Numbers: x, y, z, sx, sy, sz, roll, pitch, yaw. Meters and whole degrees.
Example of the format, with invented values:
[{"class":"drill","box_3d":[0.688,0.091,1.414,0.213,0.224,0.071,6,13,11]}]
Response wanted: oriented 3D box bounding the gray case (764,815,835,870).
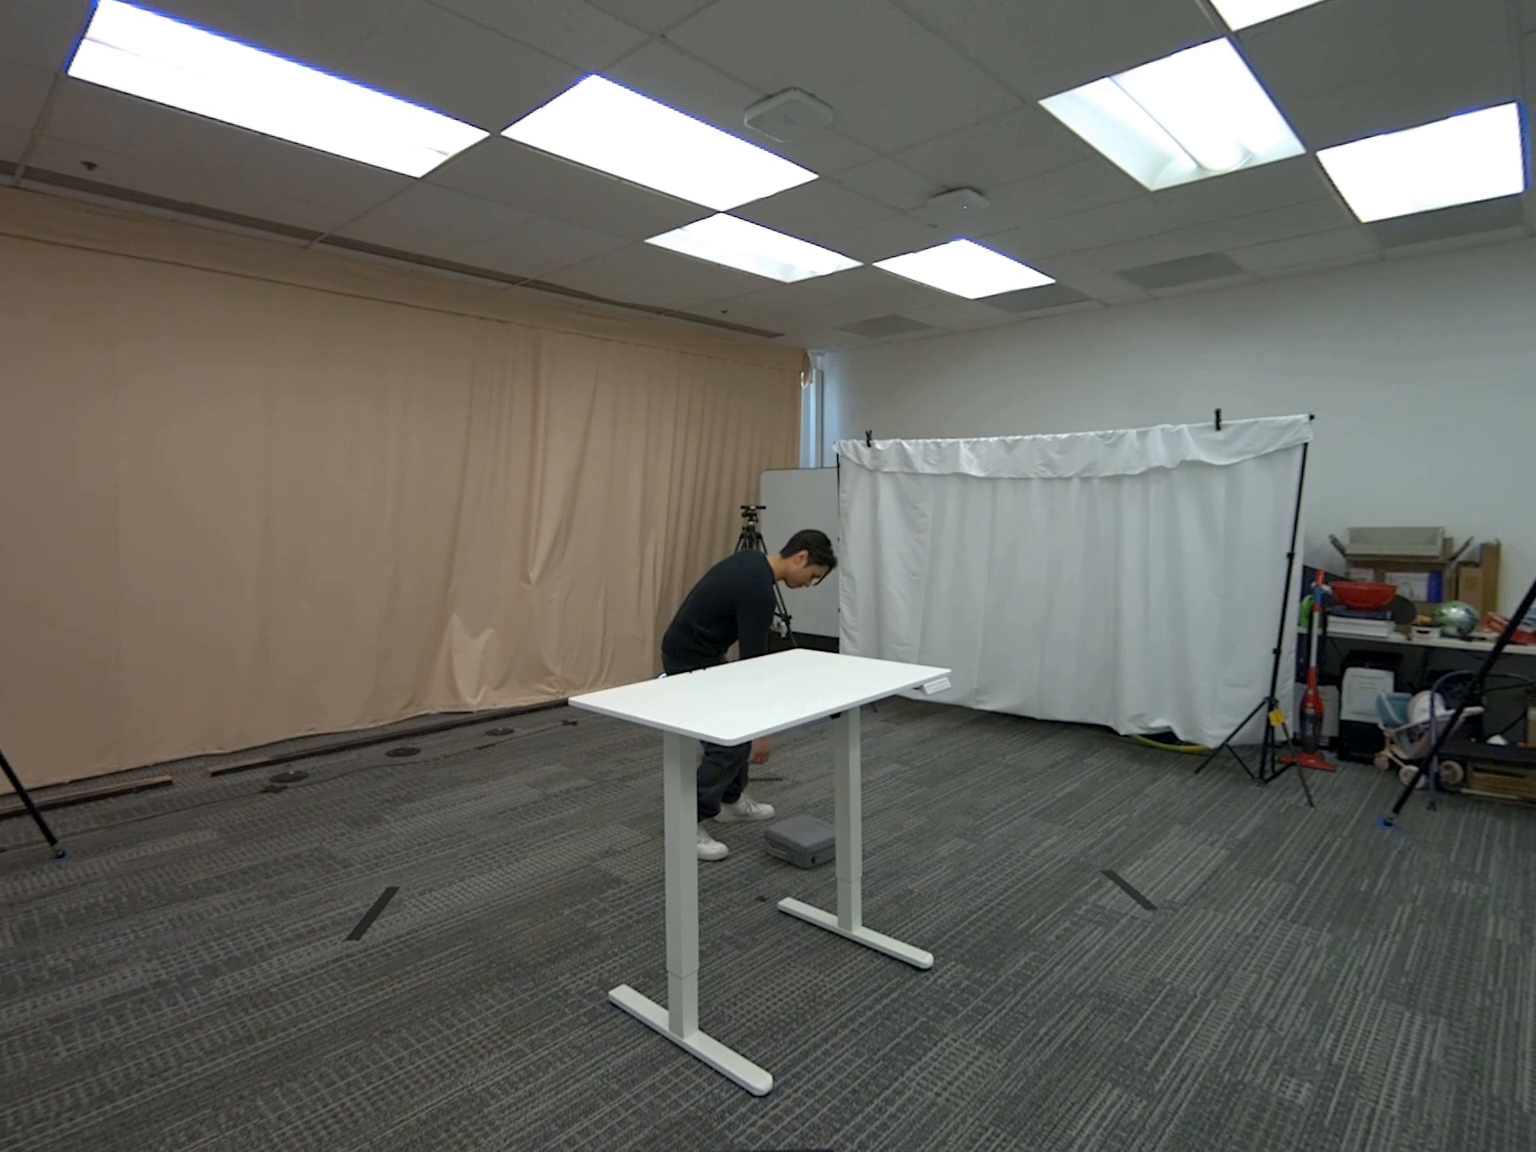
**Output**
[{"class":"gray case","box_3d":[0.150,1.051,3.359,0.253,0.104,0.265,-5,8,-40]}]
